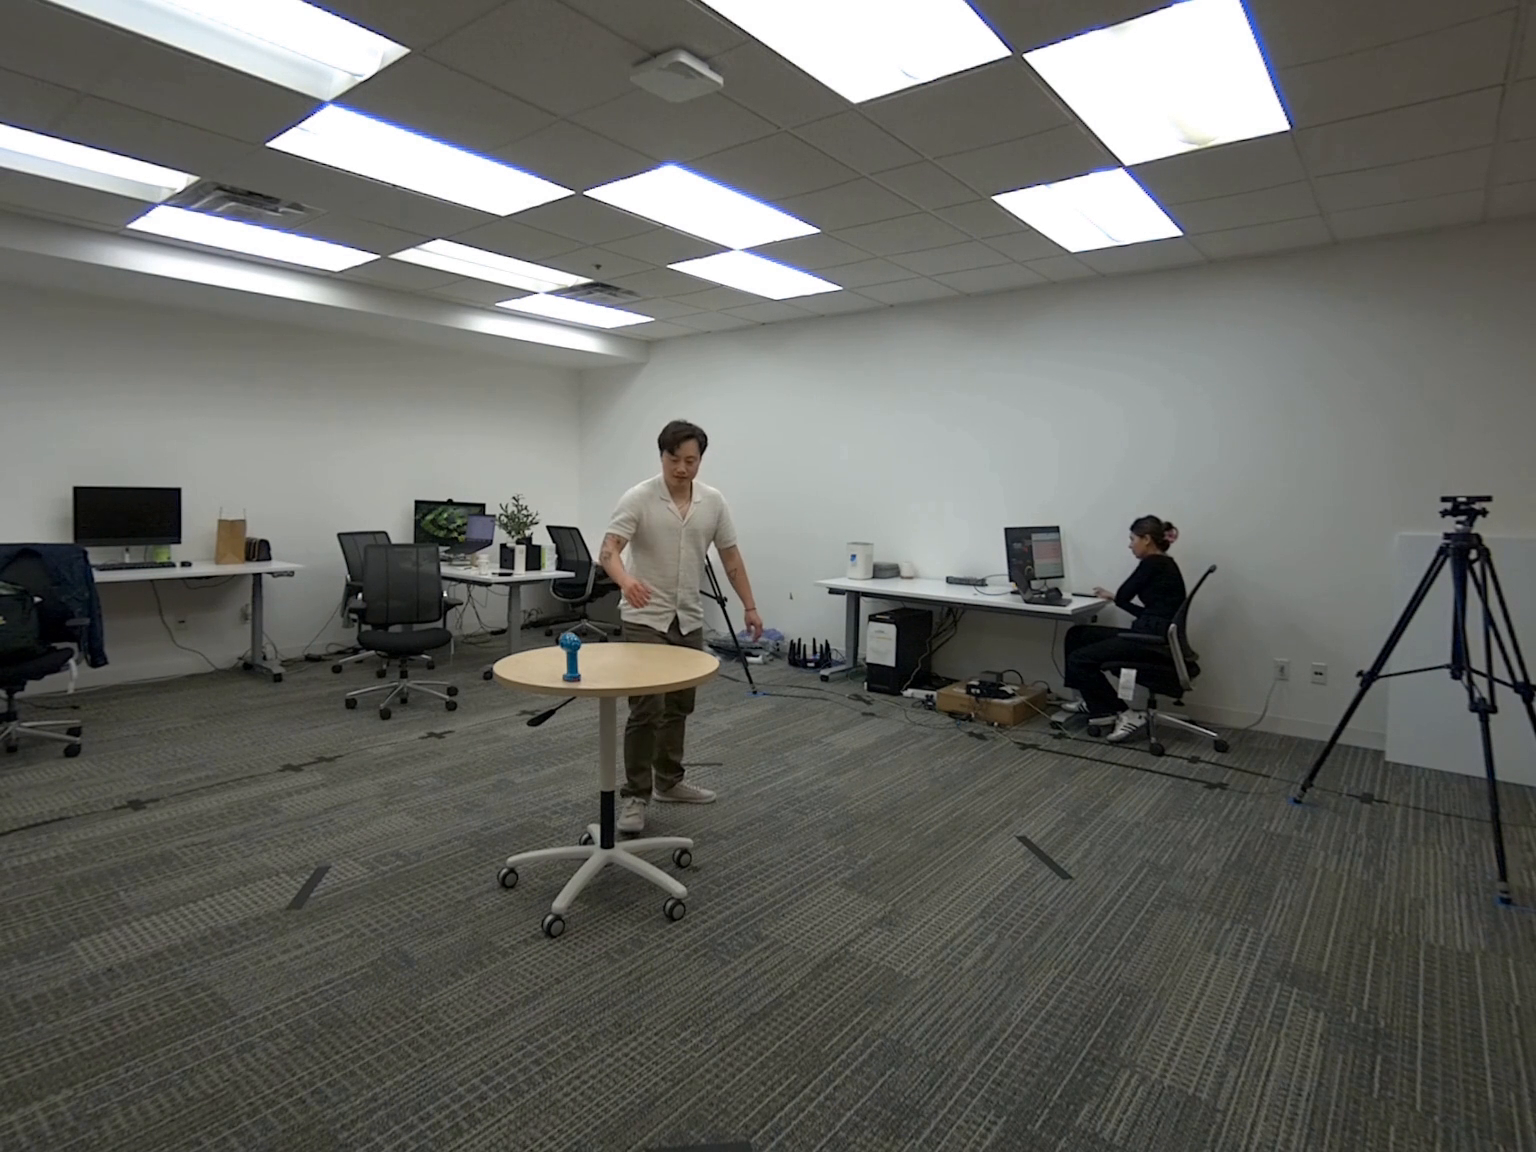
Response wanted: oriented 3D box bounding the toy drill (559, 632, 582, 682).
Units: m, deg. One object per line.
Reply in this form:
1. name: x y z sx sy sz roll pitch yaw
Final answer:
1. toy drill: -0.640 0.244 2.685 0.059 0.146 0.175 1 3 -31
